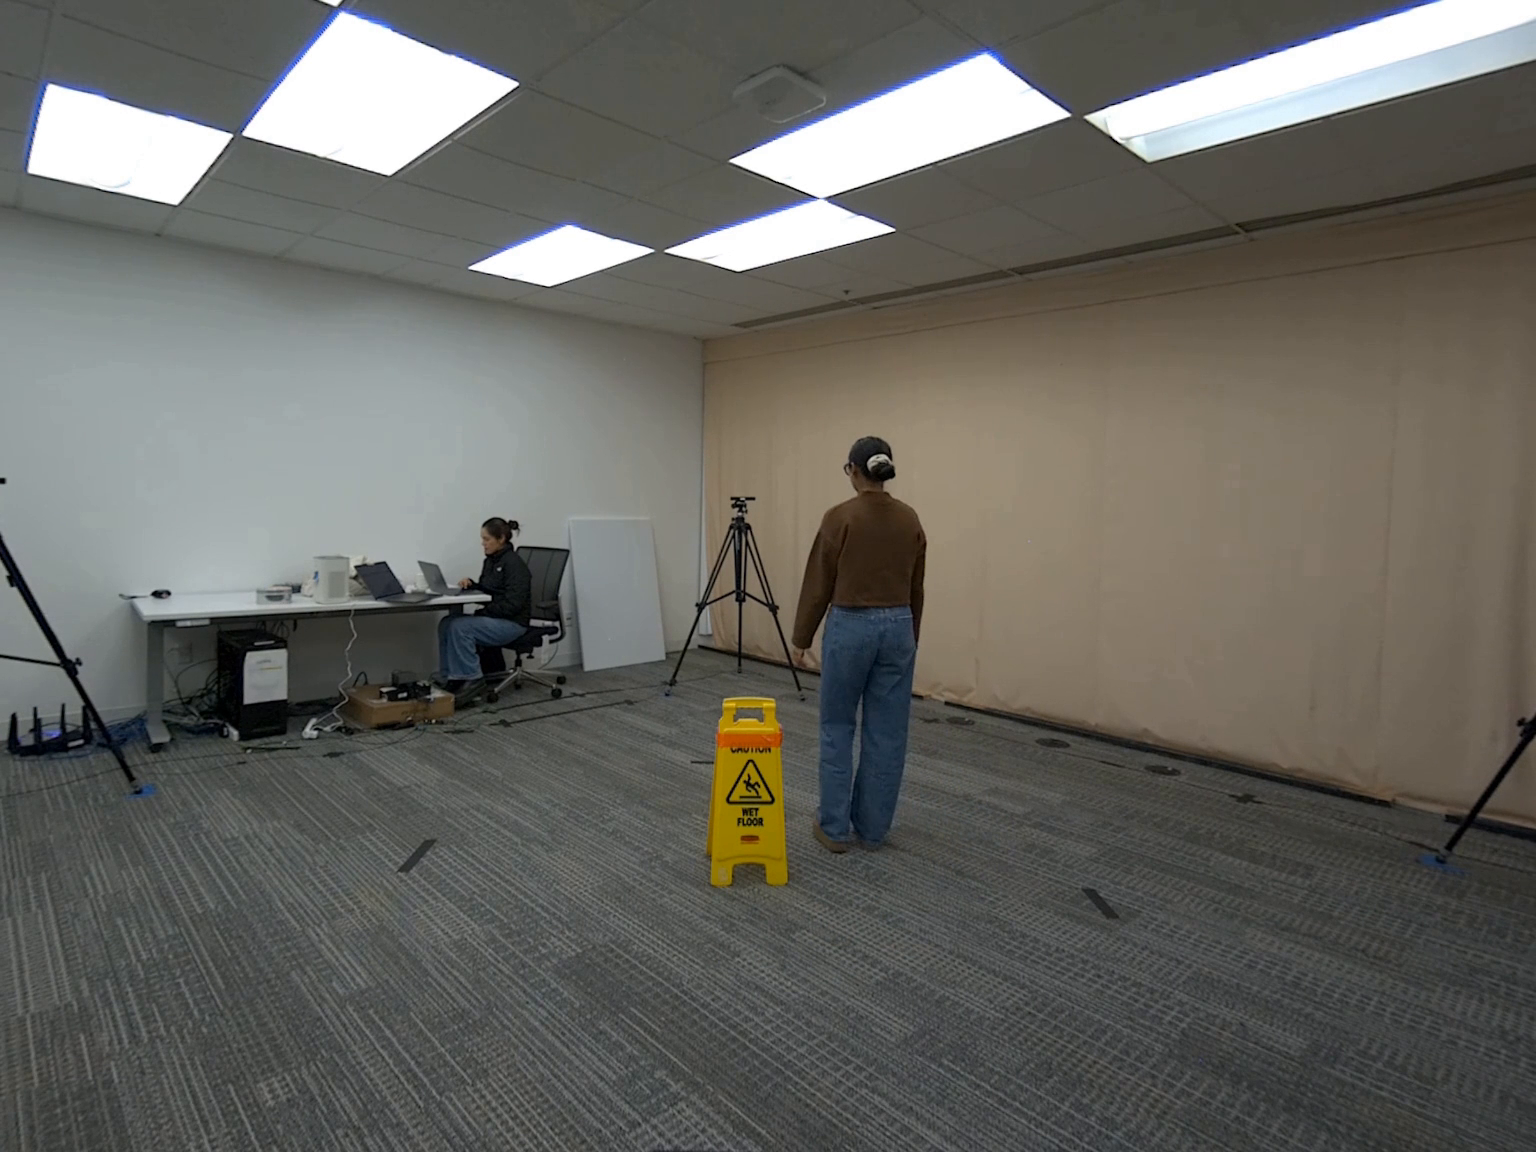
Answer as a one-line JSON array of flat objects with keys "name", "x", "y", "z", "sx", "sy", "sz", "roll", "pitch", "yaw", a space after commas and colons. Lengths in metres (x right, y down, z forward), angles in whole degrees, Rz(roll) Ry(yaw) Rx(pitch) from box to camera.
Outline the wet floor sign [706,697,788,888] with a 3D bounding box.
[{"name": "wet floor sign", "x": -0.086, "y": 0.779, "z": 3.151, "sx": 0.281, "sy": 0.645, "sz": 0.292, "roll": 2, "pitch": 3, "yaw": -7}]
